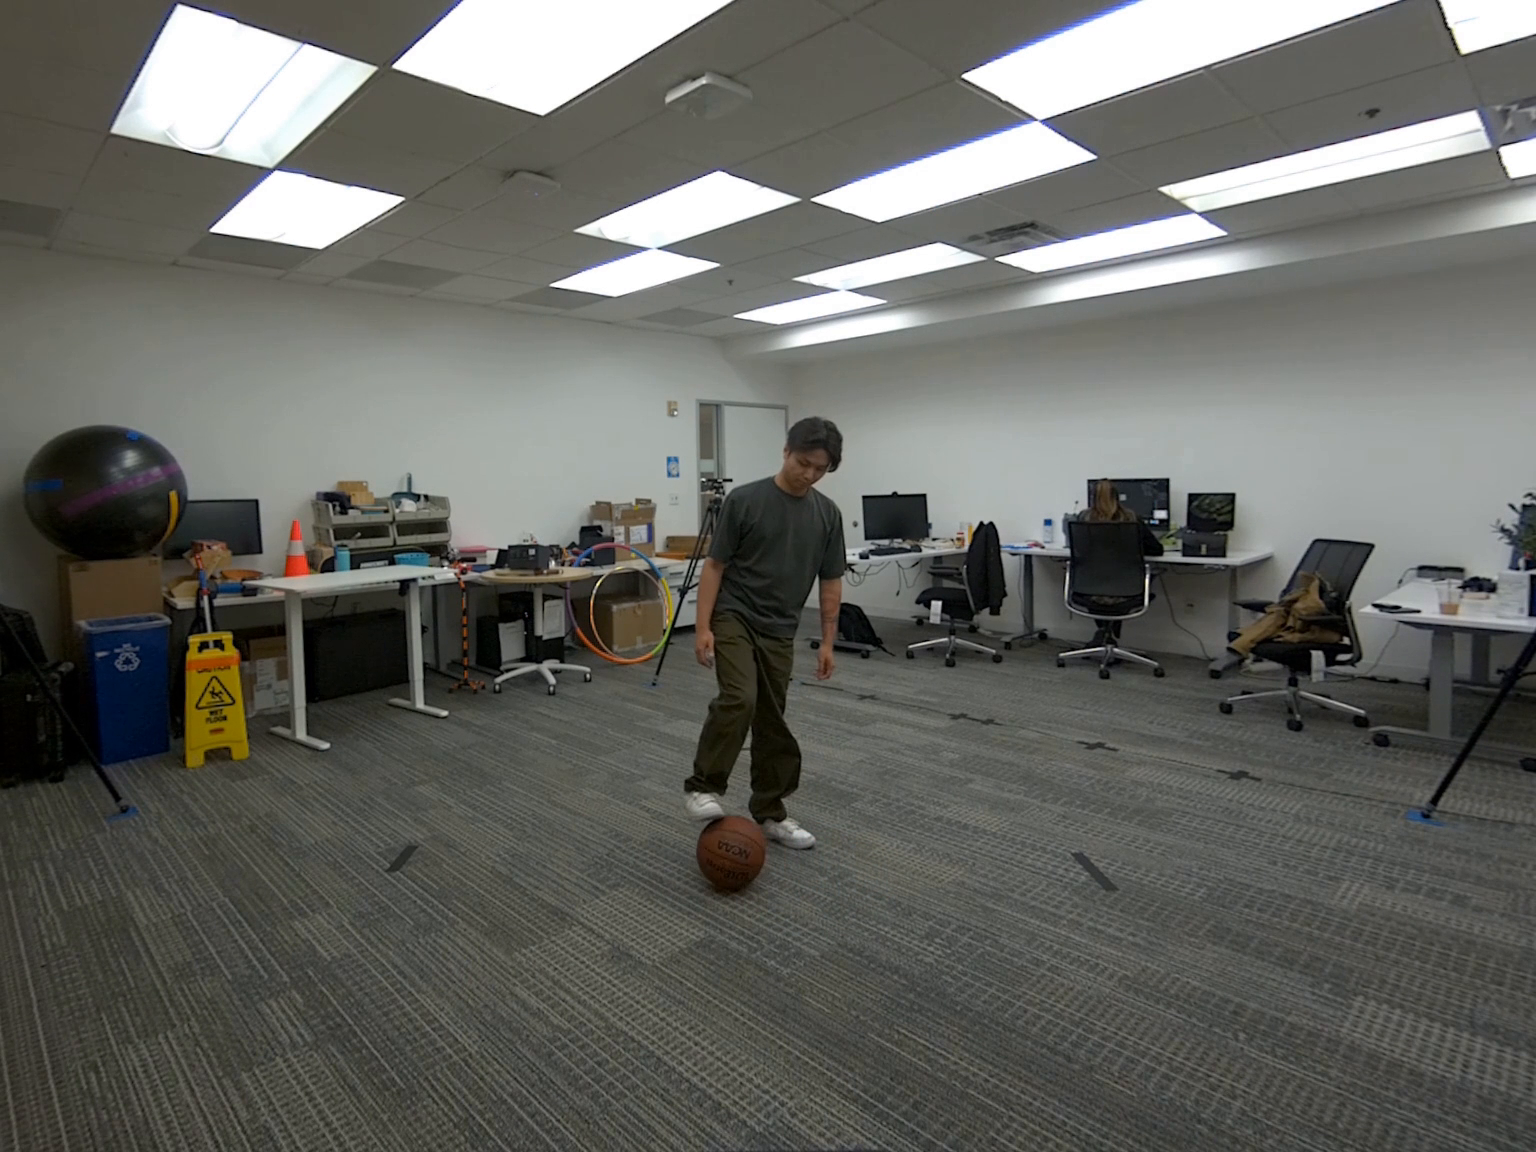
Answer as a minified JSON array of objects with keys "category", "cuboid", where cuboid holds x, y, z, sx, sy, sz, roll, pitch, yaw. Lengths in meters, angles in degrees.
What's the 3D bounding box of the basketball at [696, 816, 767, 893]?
[{"category":"basketball","cuboid":[-0.120,0.945,2.940,0.236,0.235,0.237,-1,5,-2]}]
